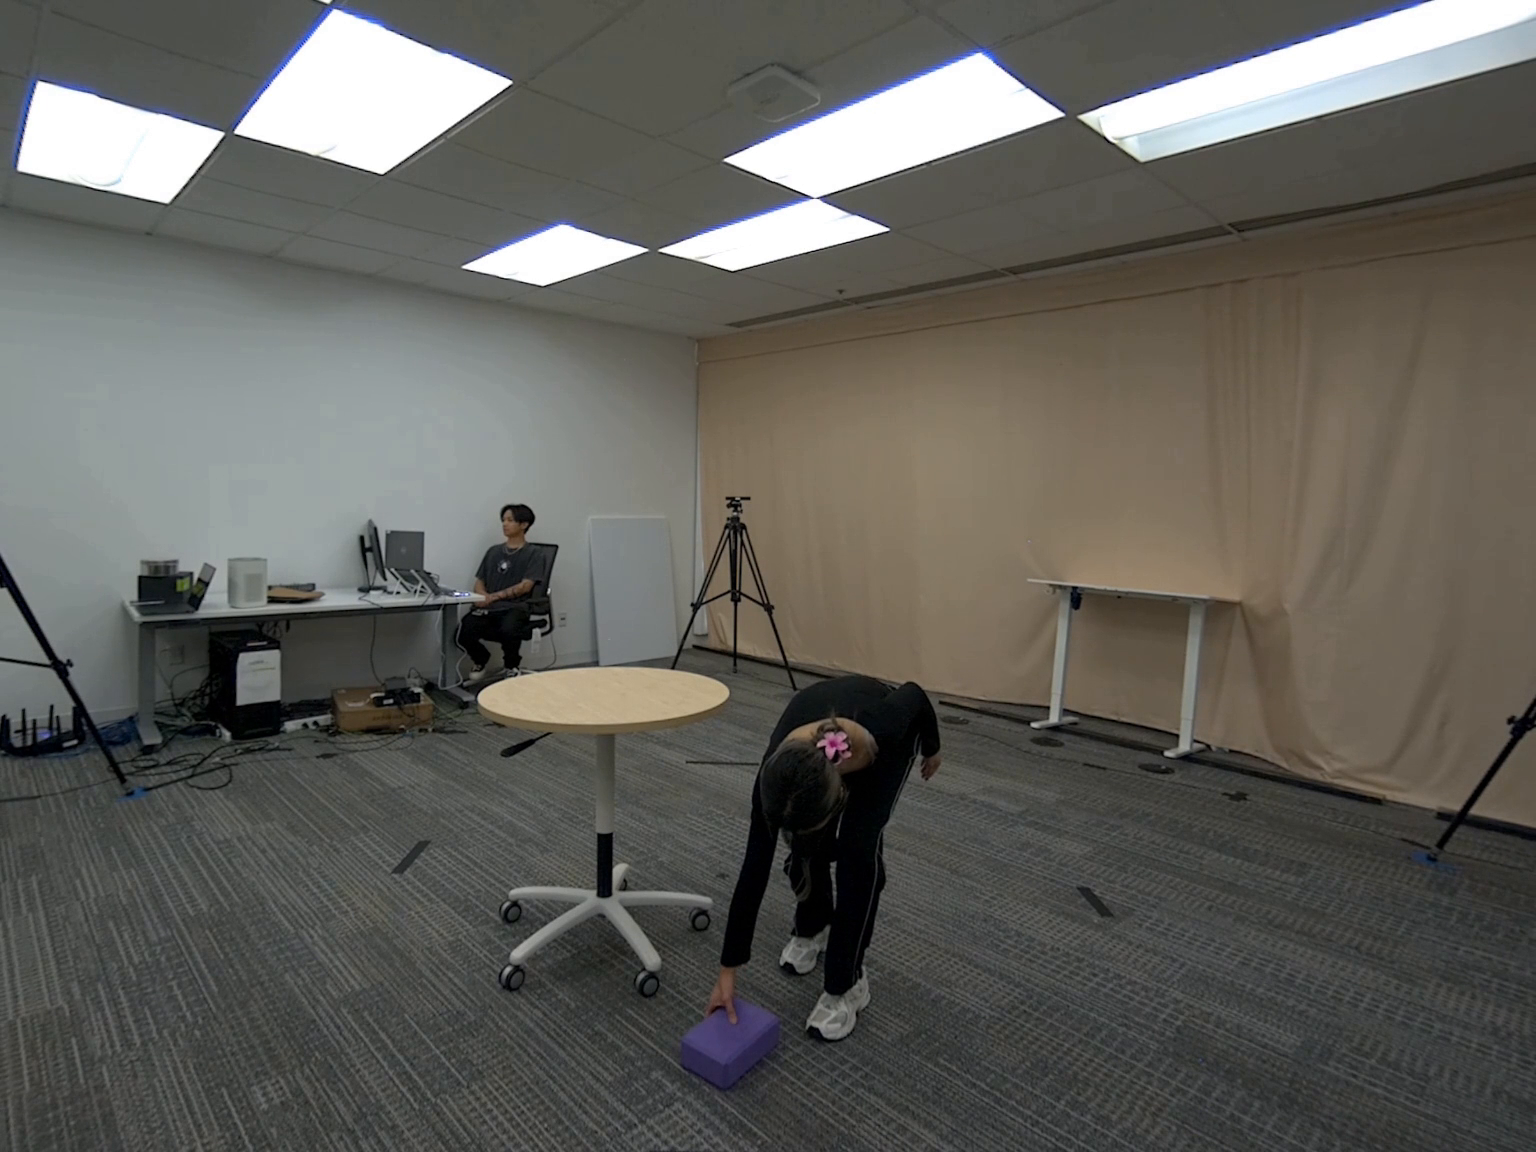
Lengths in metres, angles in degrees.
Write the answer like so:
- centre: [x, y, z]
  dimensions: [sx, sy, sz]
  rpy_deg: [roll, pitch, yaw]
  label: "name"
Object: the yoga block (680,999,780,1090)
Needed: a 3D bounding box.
- centre: [-0.099, 1.163, 2.093]
  dimensions: [0.153, 0.076, 0.224]
  rpy_deg: [7, 8, 35]
  label: "yoga block"
